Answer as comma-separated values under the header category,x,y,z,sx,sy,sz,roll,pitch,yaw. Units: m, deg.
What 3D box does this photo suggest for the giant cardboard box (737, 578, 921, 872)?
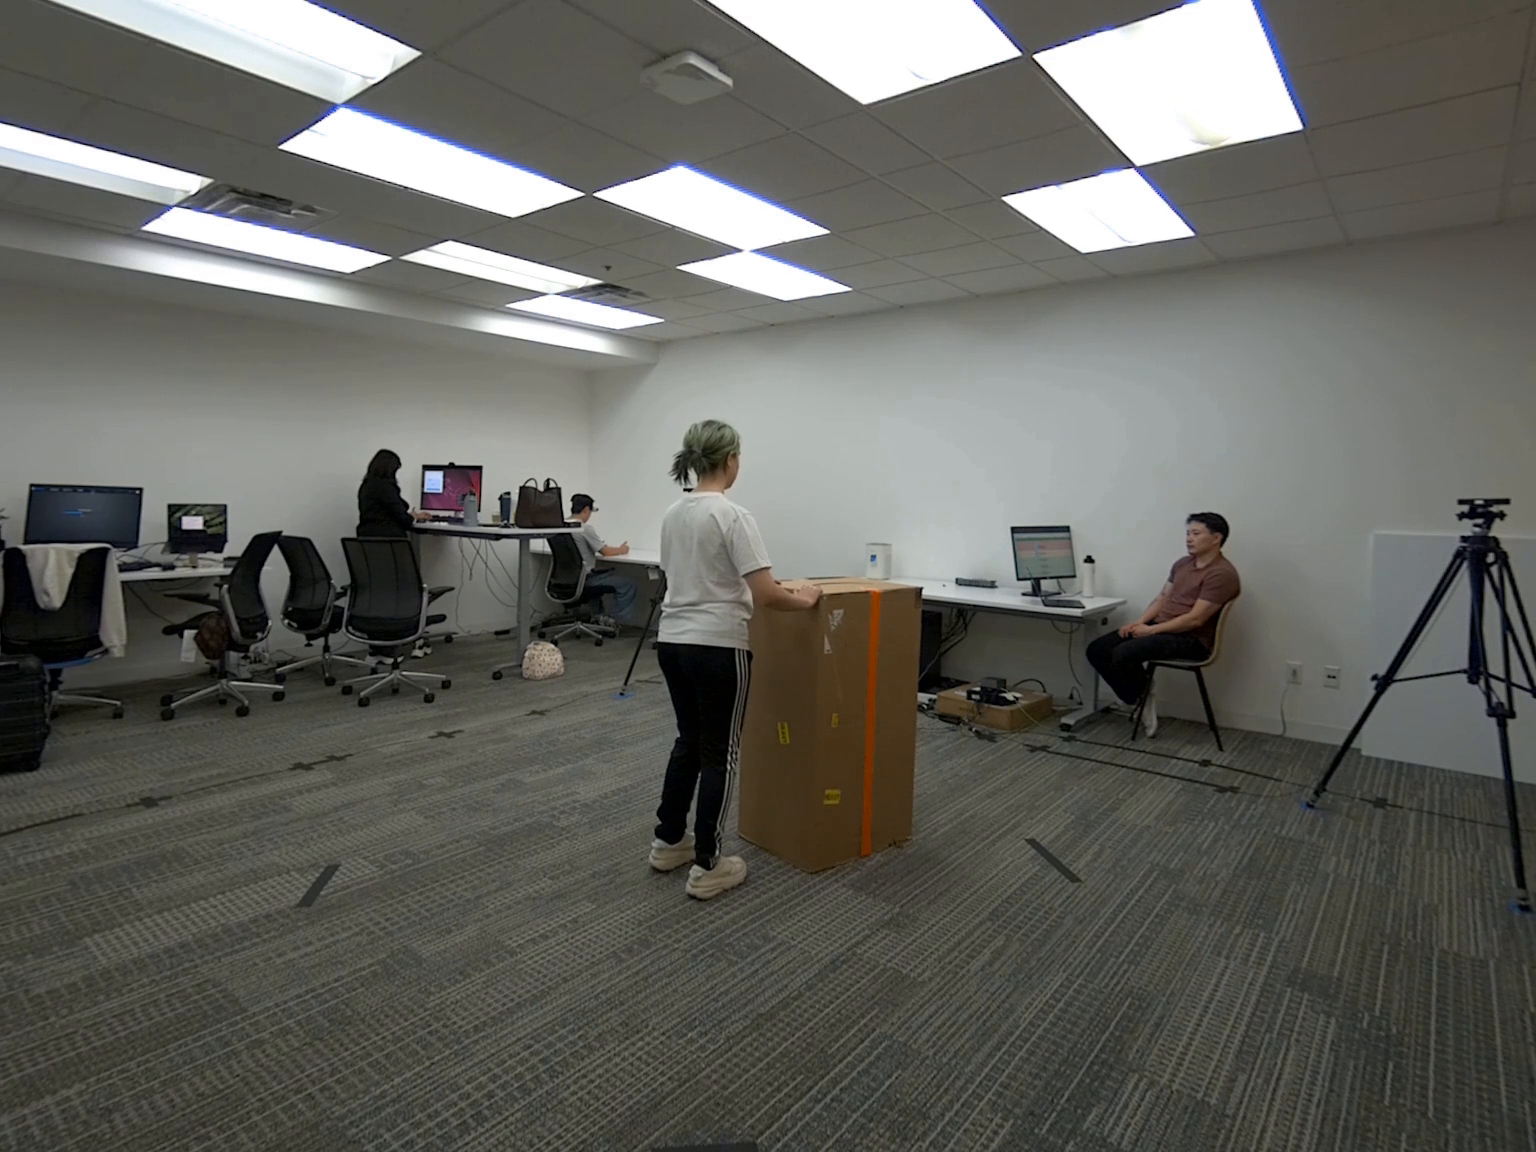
category,x,y,z,sx,sy,sz,roll,pitch,yaw
giant cardboard box,0.245,0.542,3.404,0.566,1.025,0.462,-1,4,-41
